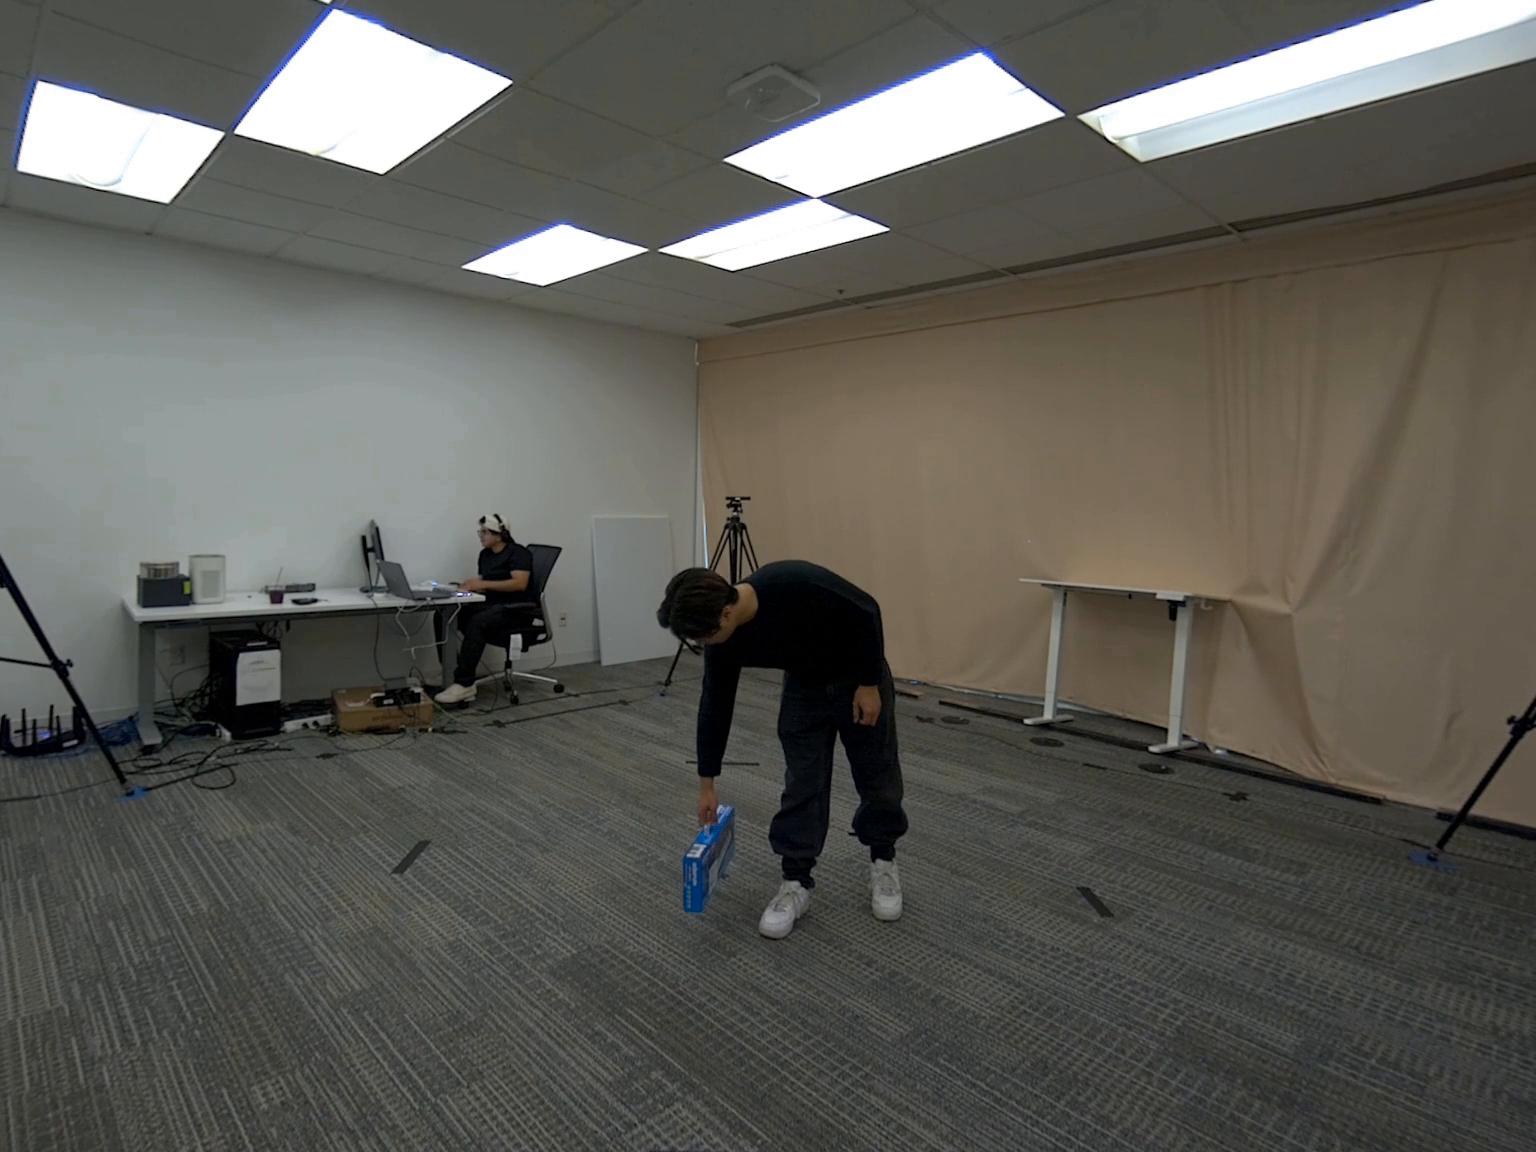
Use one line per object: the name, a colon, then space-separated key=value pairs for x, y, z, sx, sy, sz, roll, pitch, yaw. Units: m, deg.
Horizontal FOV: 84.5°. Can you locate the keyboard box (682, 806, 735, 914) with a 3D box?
keyboard box: x=-0.195 y=0.930 z=2.797 sx=0.060 sy=0.175 sz=0.434 roll=0 pitch=6 yaw=11
